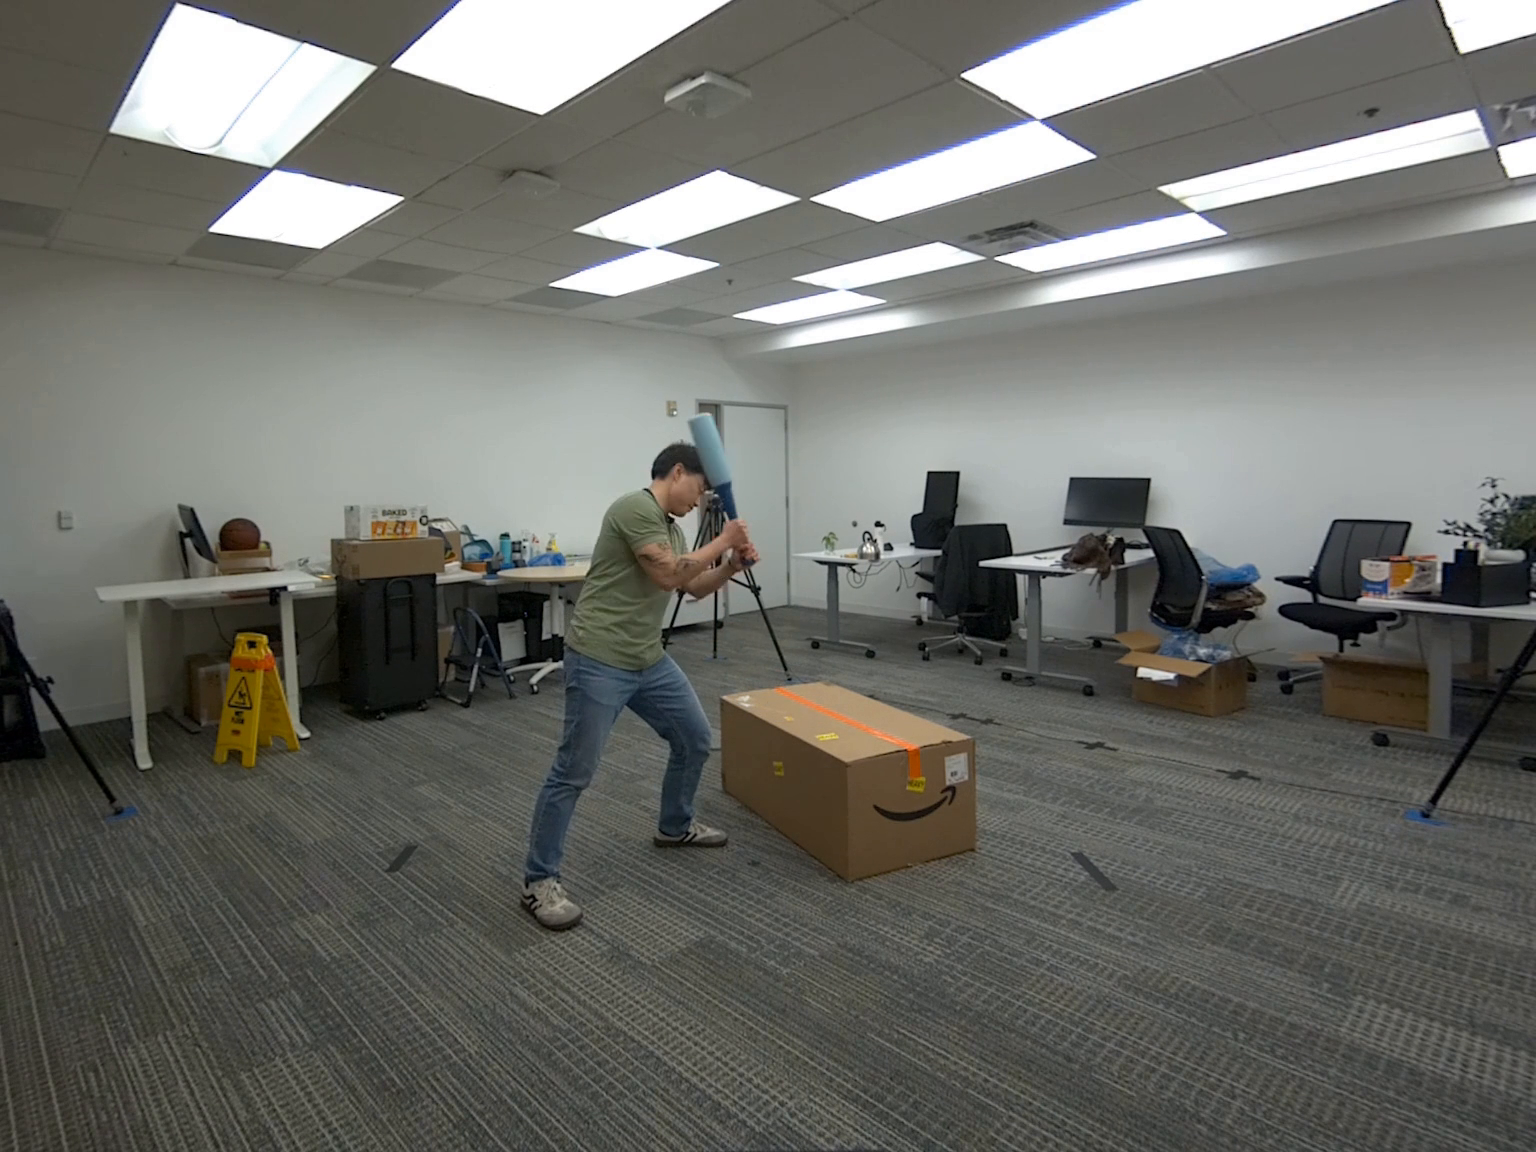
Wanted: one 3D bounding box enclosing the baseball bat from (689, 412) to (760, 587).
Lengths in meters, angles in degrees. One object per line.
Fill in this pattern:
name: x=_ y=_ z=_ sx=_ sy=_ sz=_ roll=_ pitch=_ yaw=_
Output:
baseball bat: x=-0.156 y=-0.266 z=2.945 sx=0.089 sy=0.542 sz=0.089 roll=-19 pitch=1 yaw=-1
